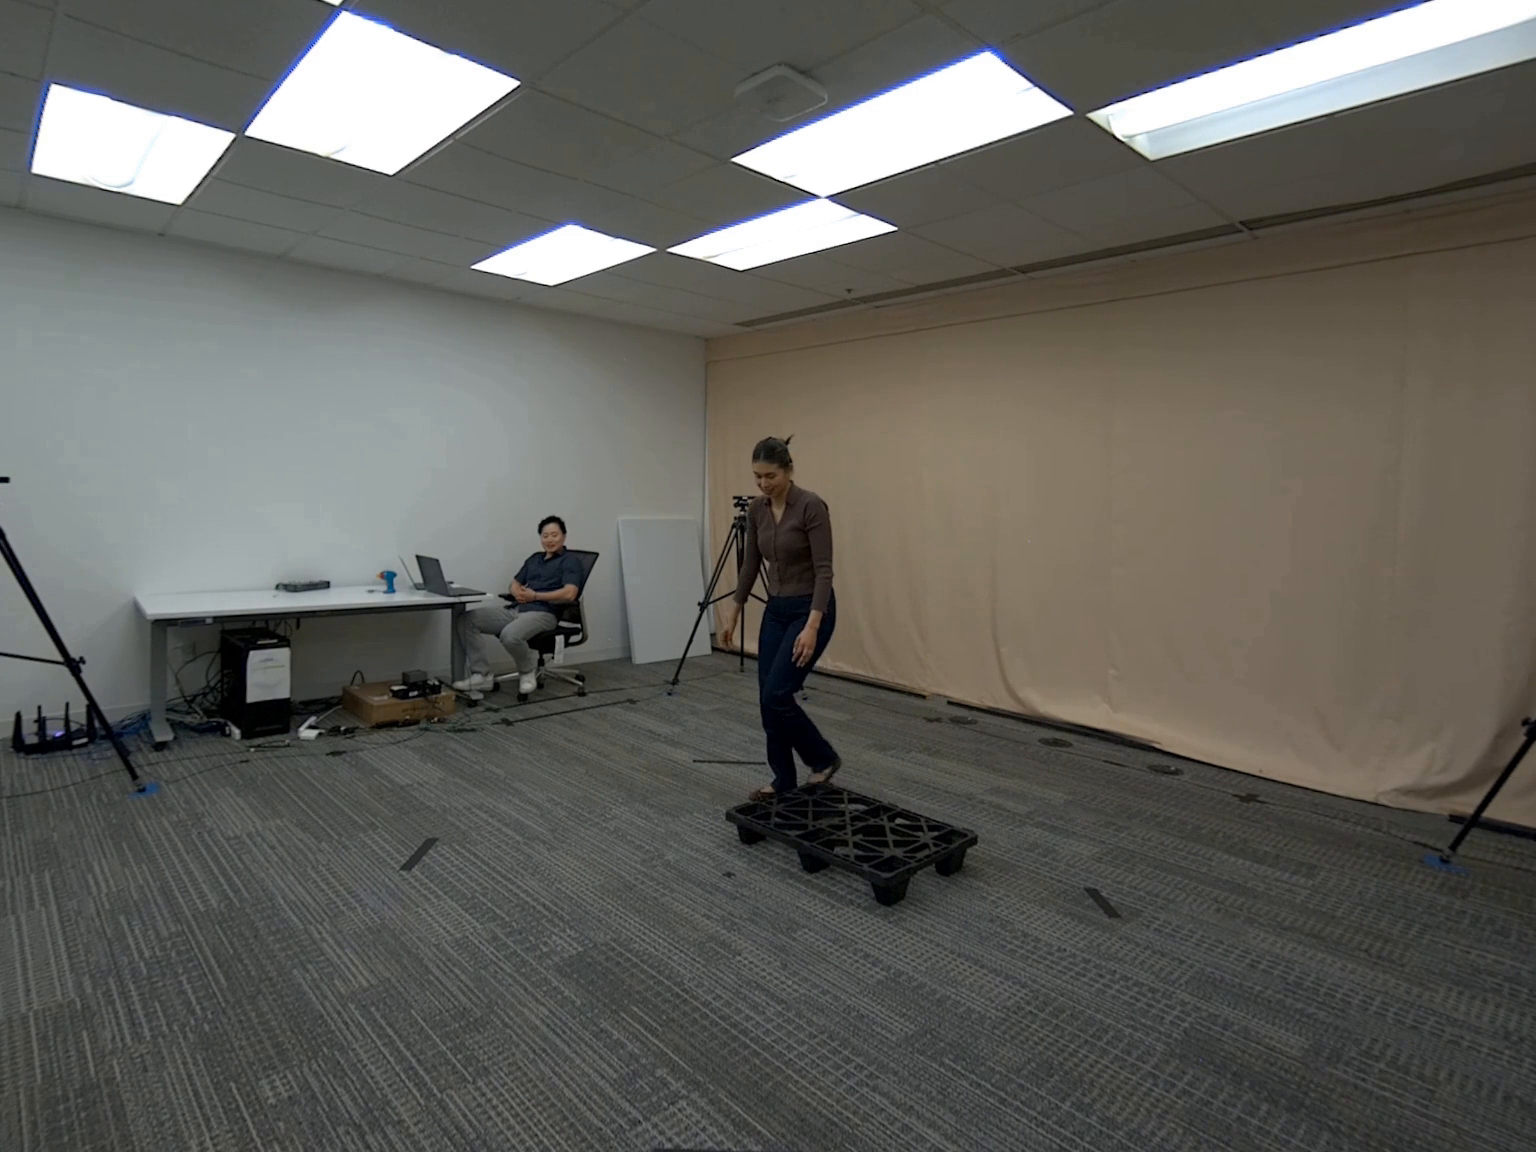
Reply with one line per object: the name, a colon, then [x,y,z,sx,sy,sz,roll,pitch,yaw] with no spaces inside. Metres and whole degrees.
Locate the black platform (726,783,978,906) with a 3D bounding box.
black platform: [0.305,1.031,3.291,0.591,0.143,0.826,-4,7,-45]
